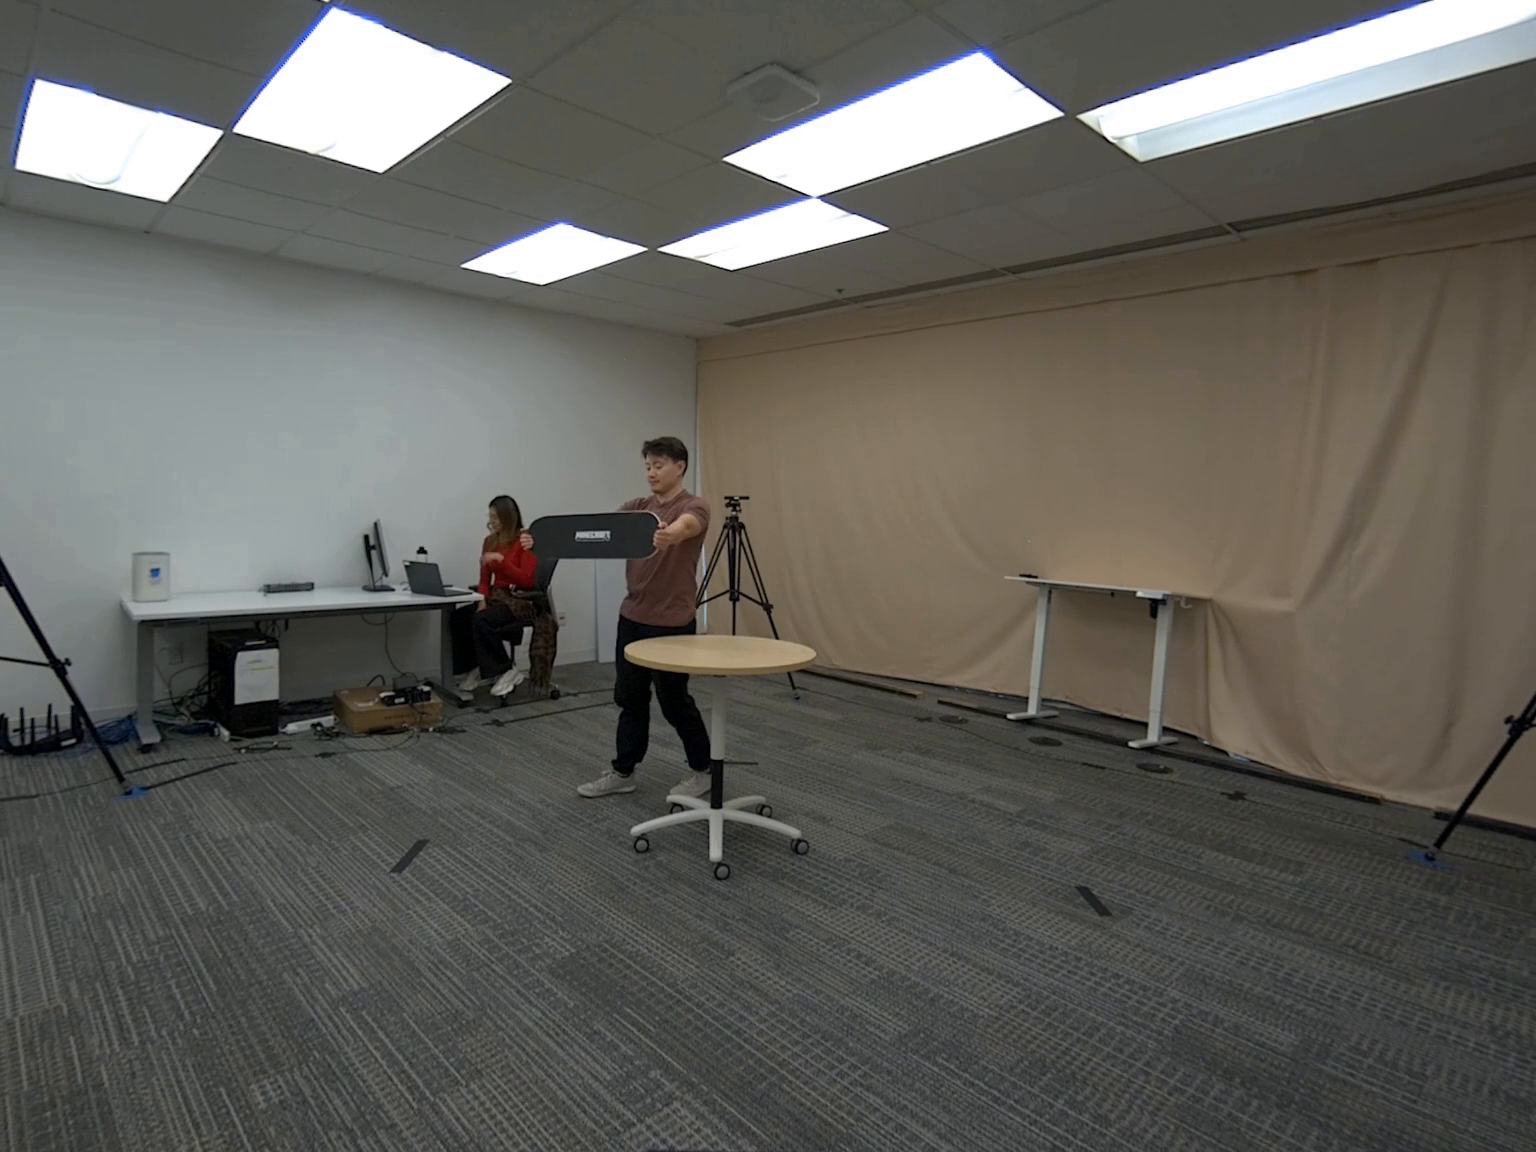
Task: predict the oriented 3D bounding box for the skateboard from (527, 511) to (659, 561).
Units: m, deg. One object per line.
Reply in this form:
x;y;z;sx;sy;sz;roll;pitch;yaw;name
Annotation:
-0.724;-0.173;3.532;0.803;0.194;0.108;1;-1;36;skateboard
